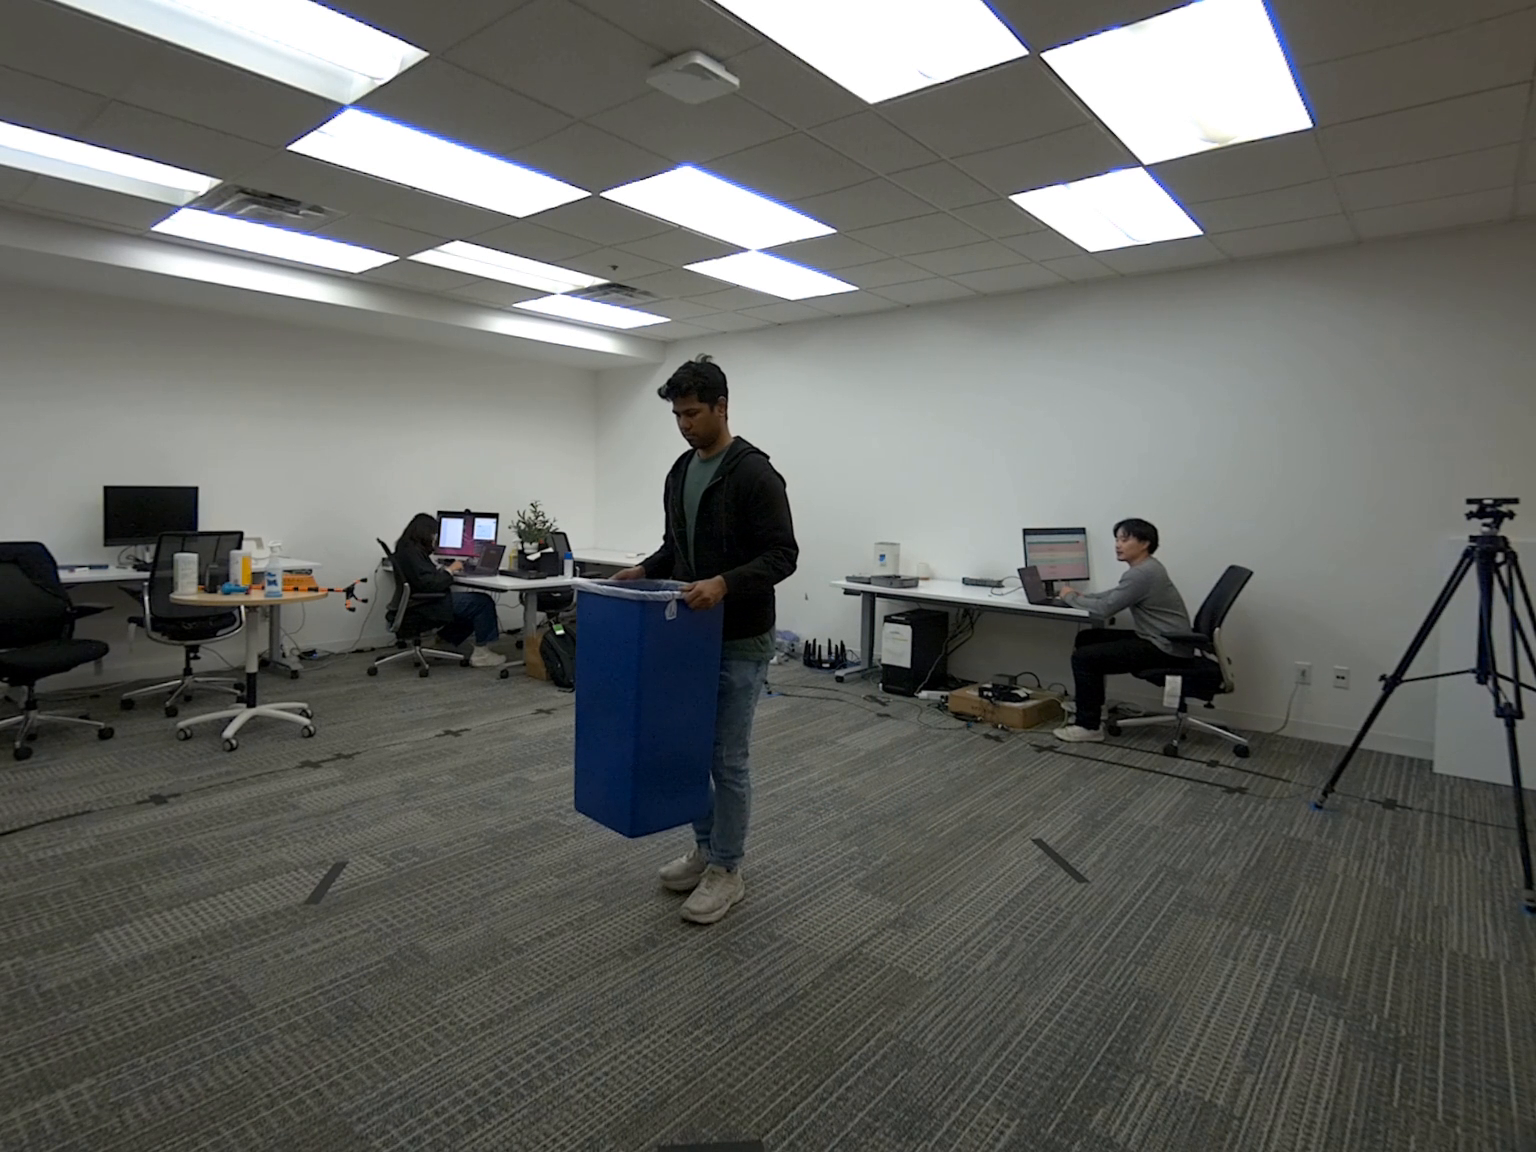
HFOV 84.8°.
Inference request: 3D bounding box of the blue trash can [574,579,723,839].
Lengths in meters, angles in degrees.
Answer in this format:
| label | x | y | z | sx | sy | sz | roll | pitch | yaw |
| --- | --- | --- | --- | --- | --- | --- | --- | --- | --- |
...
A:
| label | x | y | z | sx | sy | sz | roll | pitch | yaw |
| --- | --- | --- | --- | --- | --- | --- | --- | --- | --- |
| blue trash can | -0.397 | 0.381 | 2.638 | 0.387 | 0.712 | 0.366 | 6 | 3 | 44 |
